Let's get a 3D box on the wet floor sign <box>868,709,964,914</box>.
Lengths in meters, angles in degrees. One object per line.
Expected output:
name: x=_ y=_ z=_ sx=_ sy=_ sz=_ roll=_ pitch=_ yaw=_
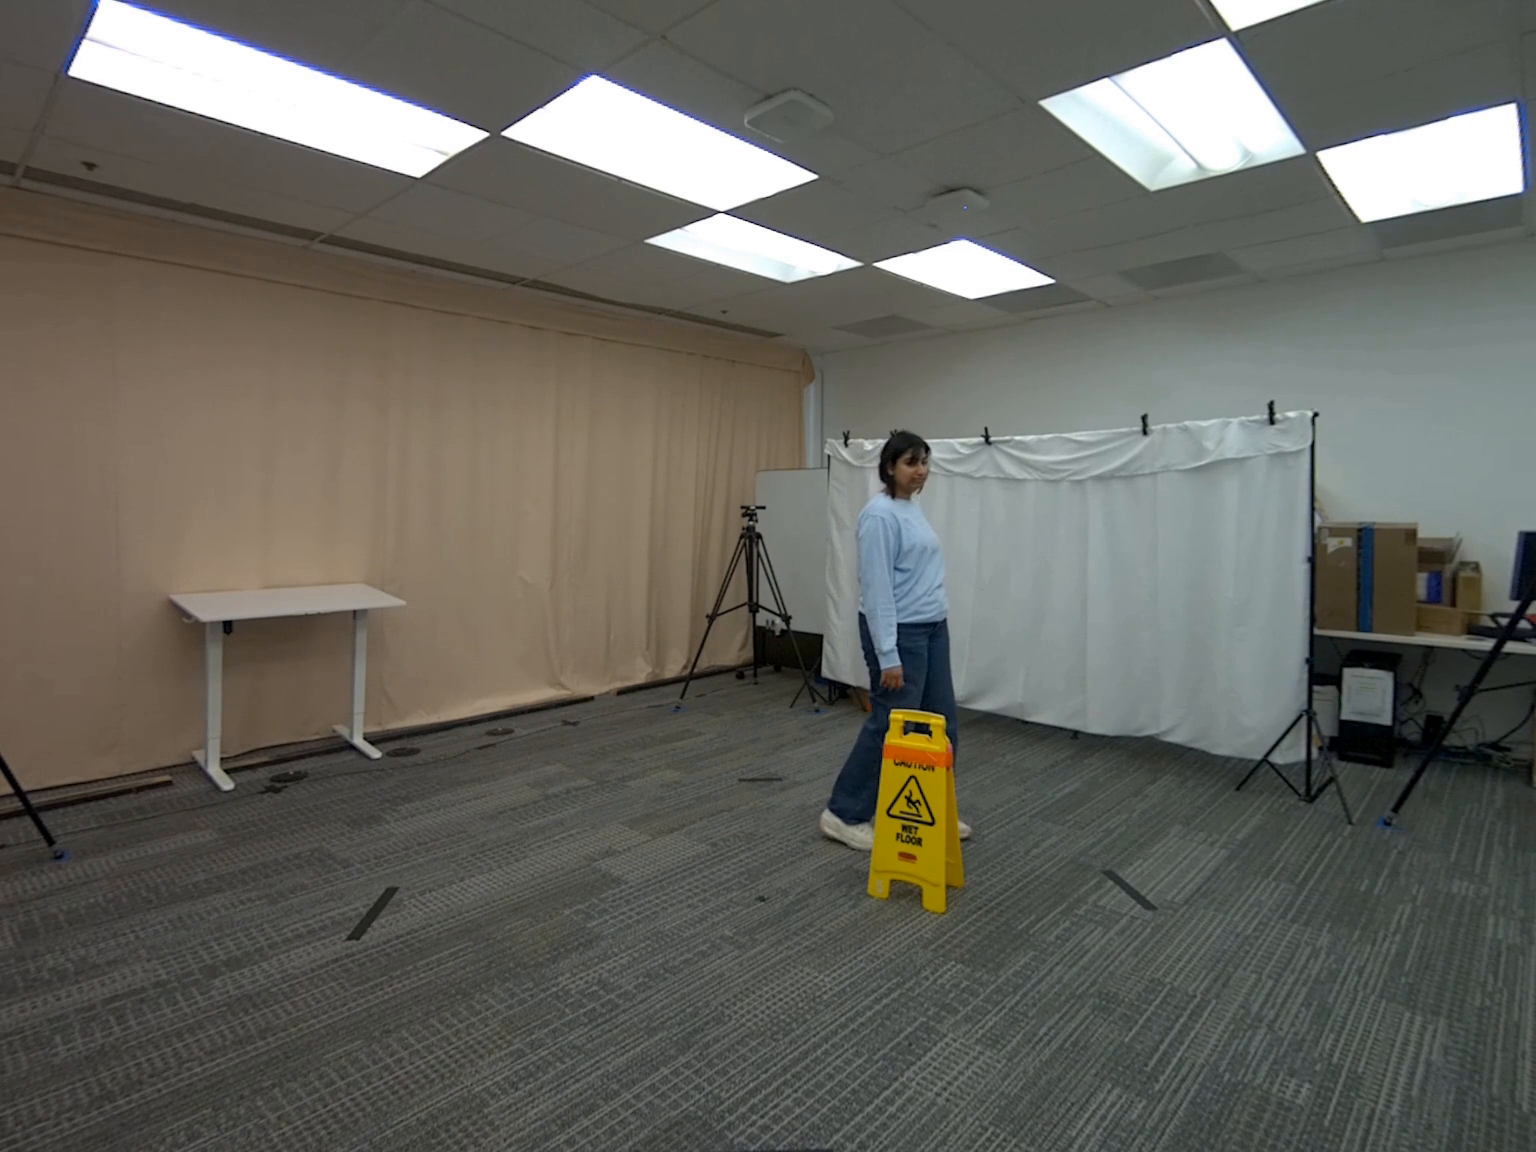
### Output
wet floor sign: x=0.543 y=0.811 z=3.031 sx=0.290 sy=0.645 sz=0.282 roll=3 pitch=4 yaw=30
